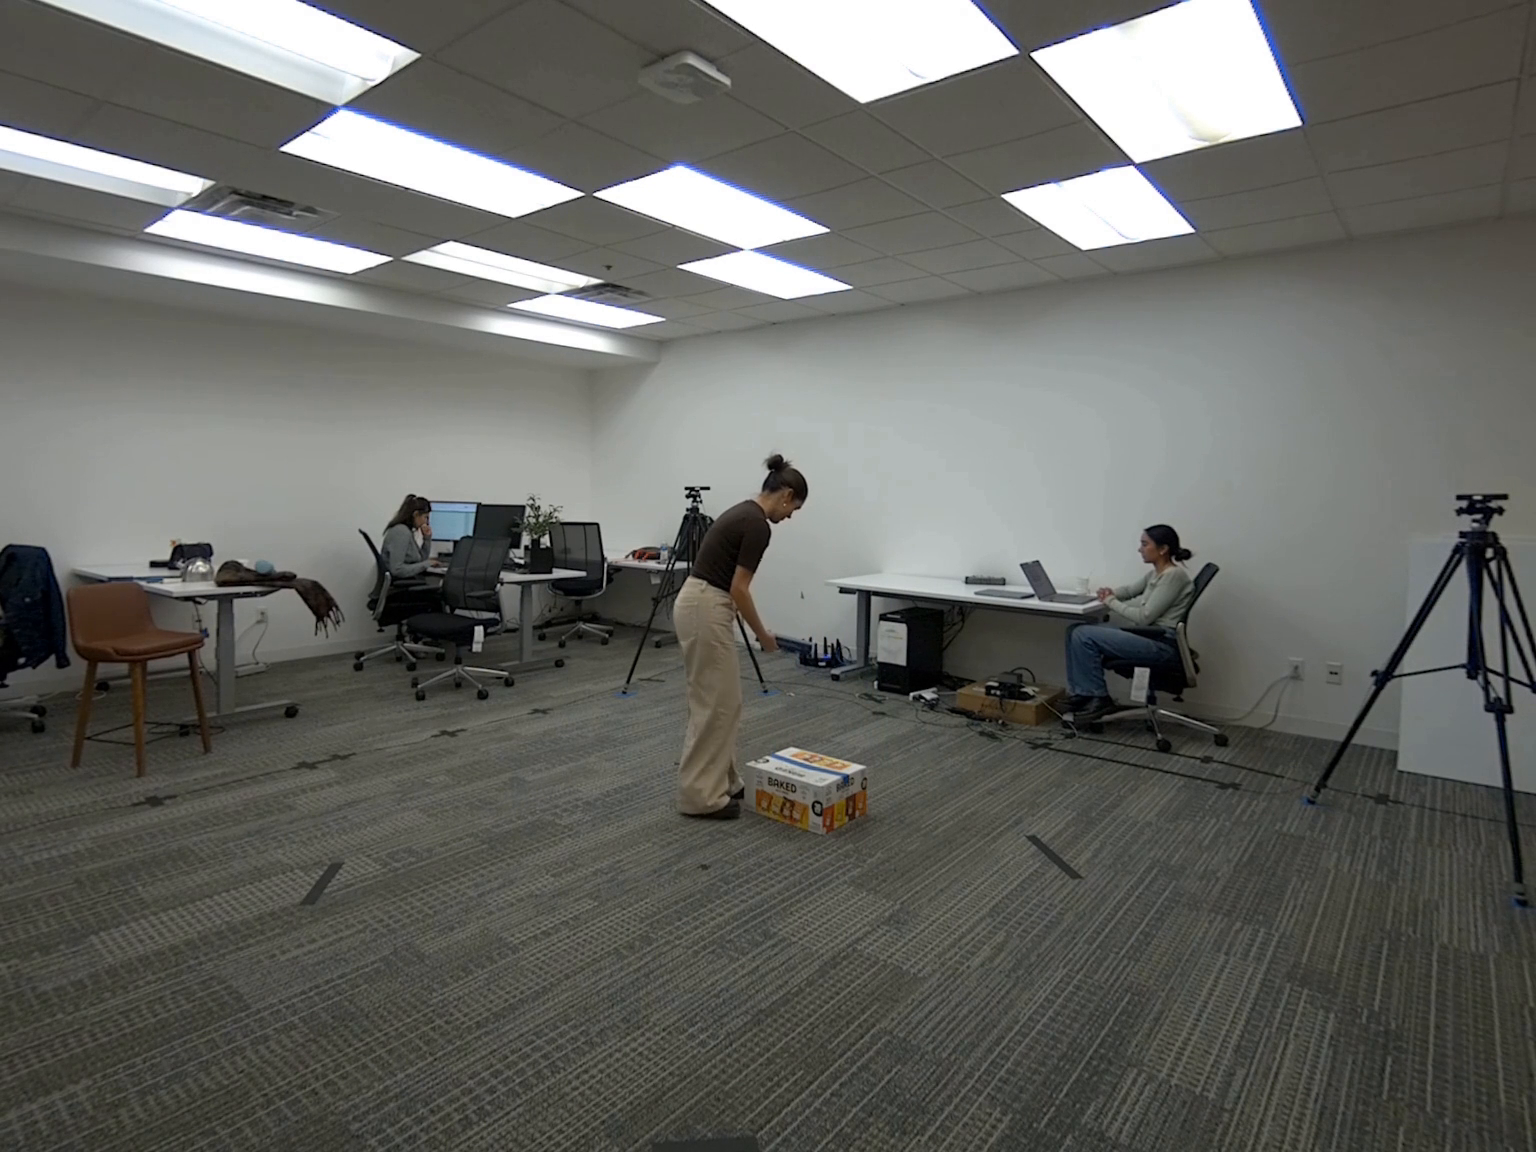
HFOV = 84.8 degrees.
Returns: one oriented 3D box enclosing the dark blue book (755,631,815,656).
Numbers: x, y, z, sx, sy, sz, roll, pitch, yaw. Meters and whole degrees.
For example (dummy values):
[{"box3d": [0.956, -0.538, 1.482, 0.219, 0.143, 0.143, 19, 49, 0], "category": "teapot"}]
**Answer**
[{"box3d": [0.075, 0.288, 3.705, 0.248, 0.045, 0.161, 13, 1, 9], "category": "dark blue book"}]
